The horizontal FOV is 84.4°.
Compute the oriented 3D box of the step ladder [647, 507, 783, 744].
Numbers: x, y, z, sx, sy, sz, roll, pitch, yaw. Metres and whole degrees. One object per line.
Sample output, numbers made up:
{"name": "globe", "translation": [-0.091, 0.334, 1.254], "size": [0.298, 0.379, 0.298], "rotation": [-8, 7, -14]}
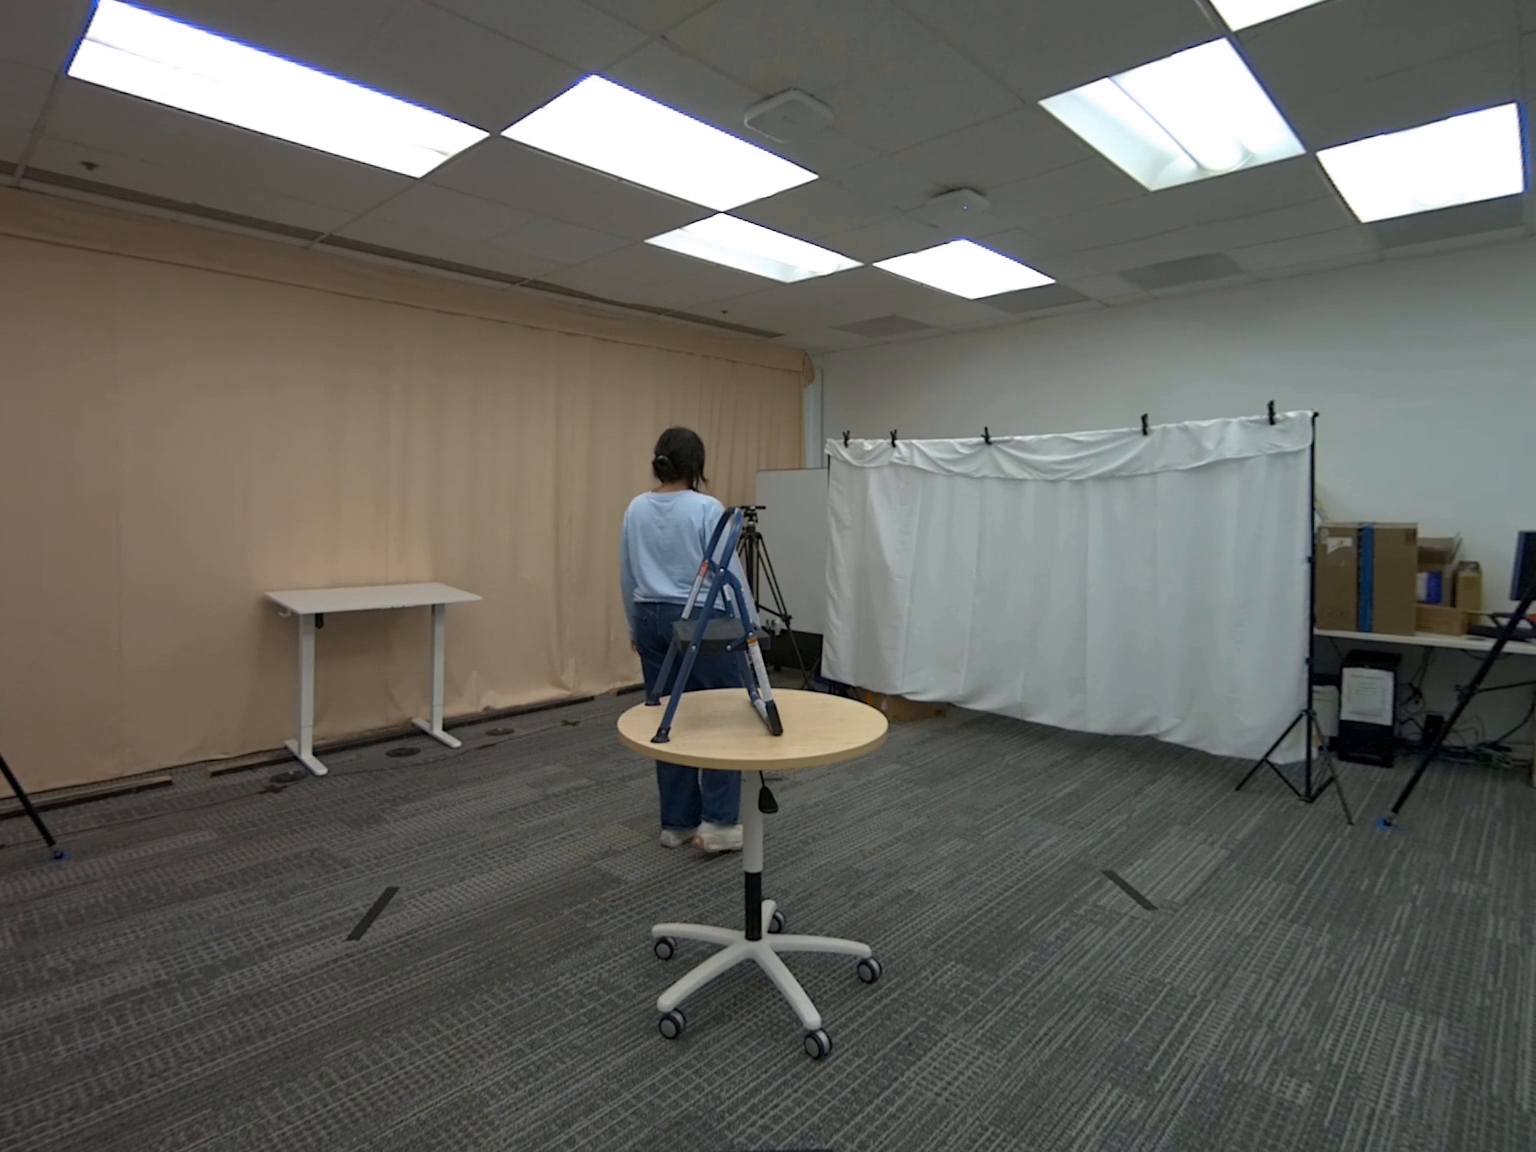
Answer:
{"name": "step ladder", "translation": [-0.162, 0.110, 2.384], "size": [0.346, 0.605, 0.435], "rotation": [-2, 3, -9]}
